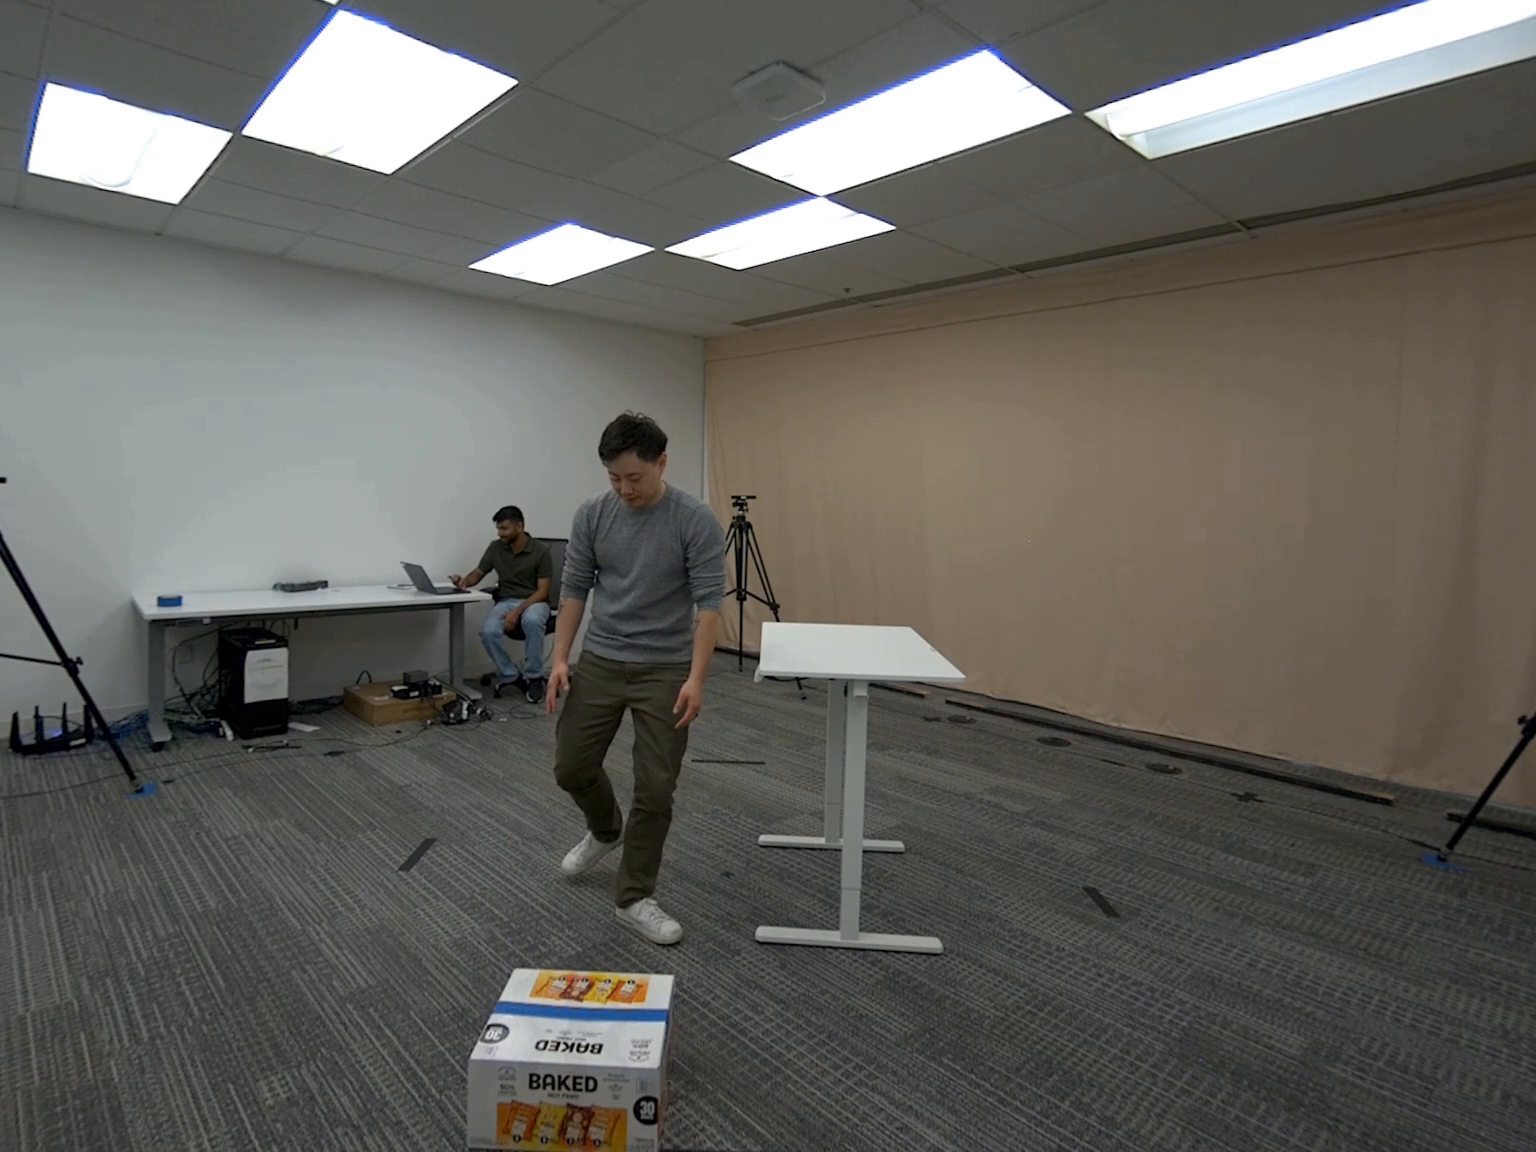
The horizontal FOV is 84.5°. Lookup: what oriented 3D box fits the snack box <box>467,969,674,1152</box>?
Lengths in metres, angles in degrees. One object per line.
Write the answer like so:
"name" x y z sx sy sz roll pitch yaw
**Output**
"snack box" -0.445 1.109 1.921 0.405 0.205 0.341 2 5 0
